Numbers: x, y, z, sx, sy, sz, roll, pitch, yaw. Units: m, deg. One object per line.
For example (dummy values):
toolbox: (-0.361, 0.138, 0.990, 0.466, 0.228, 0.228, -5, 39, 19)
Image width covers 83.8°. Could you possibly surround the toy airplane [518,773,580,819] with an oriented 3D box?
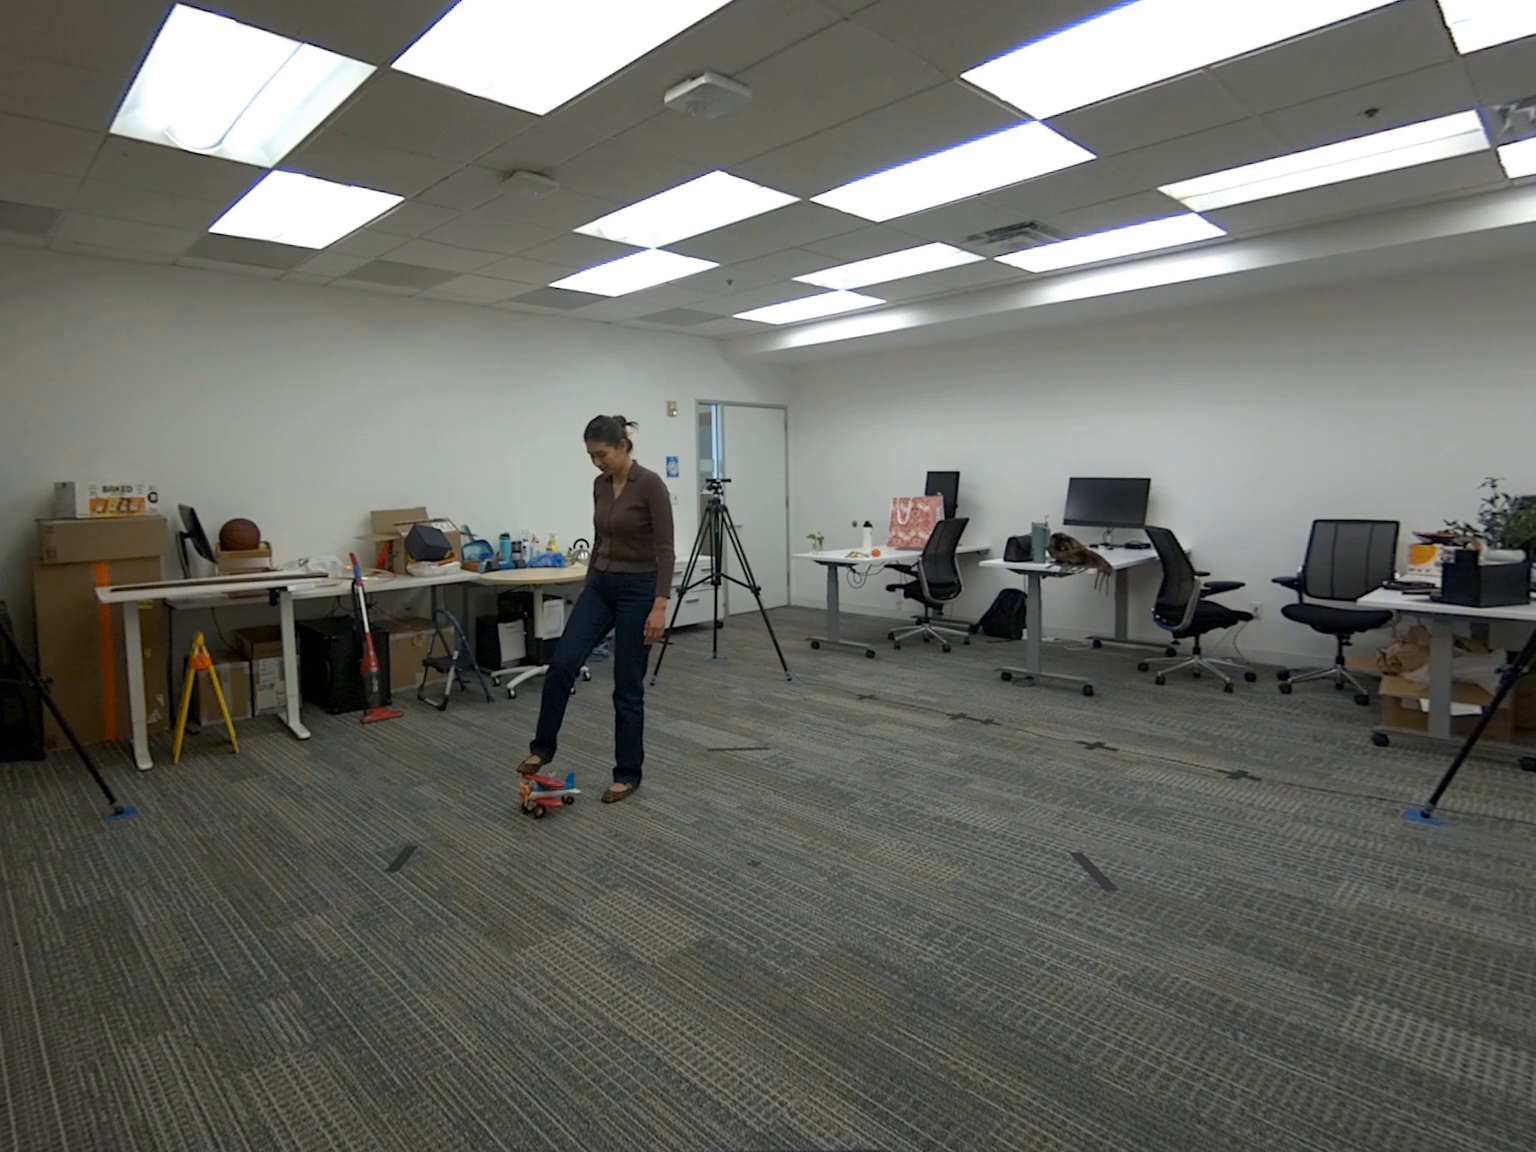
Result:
toy airplane: (-0.954, 0.929, 3.666, 0.255, 0.156, 0.256, -3, 5, 16)
